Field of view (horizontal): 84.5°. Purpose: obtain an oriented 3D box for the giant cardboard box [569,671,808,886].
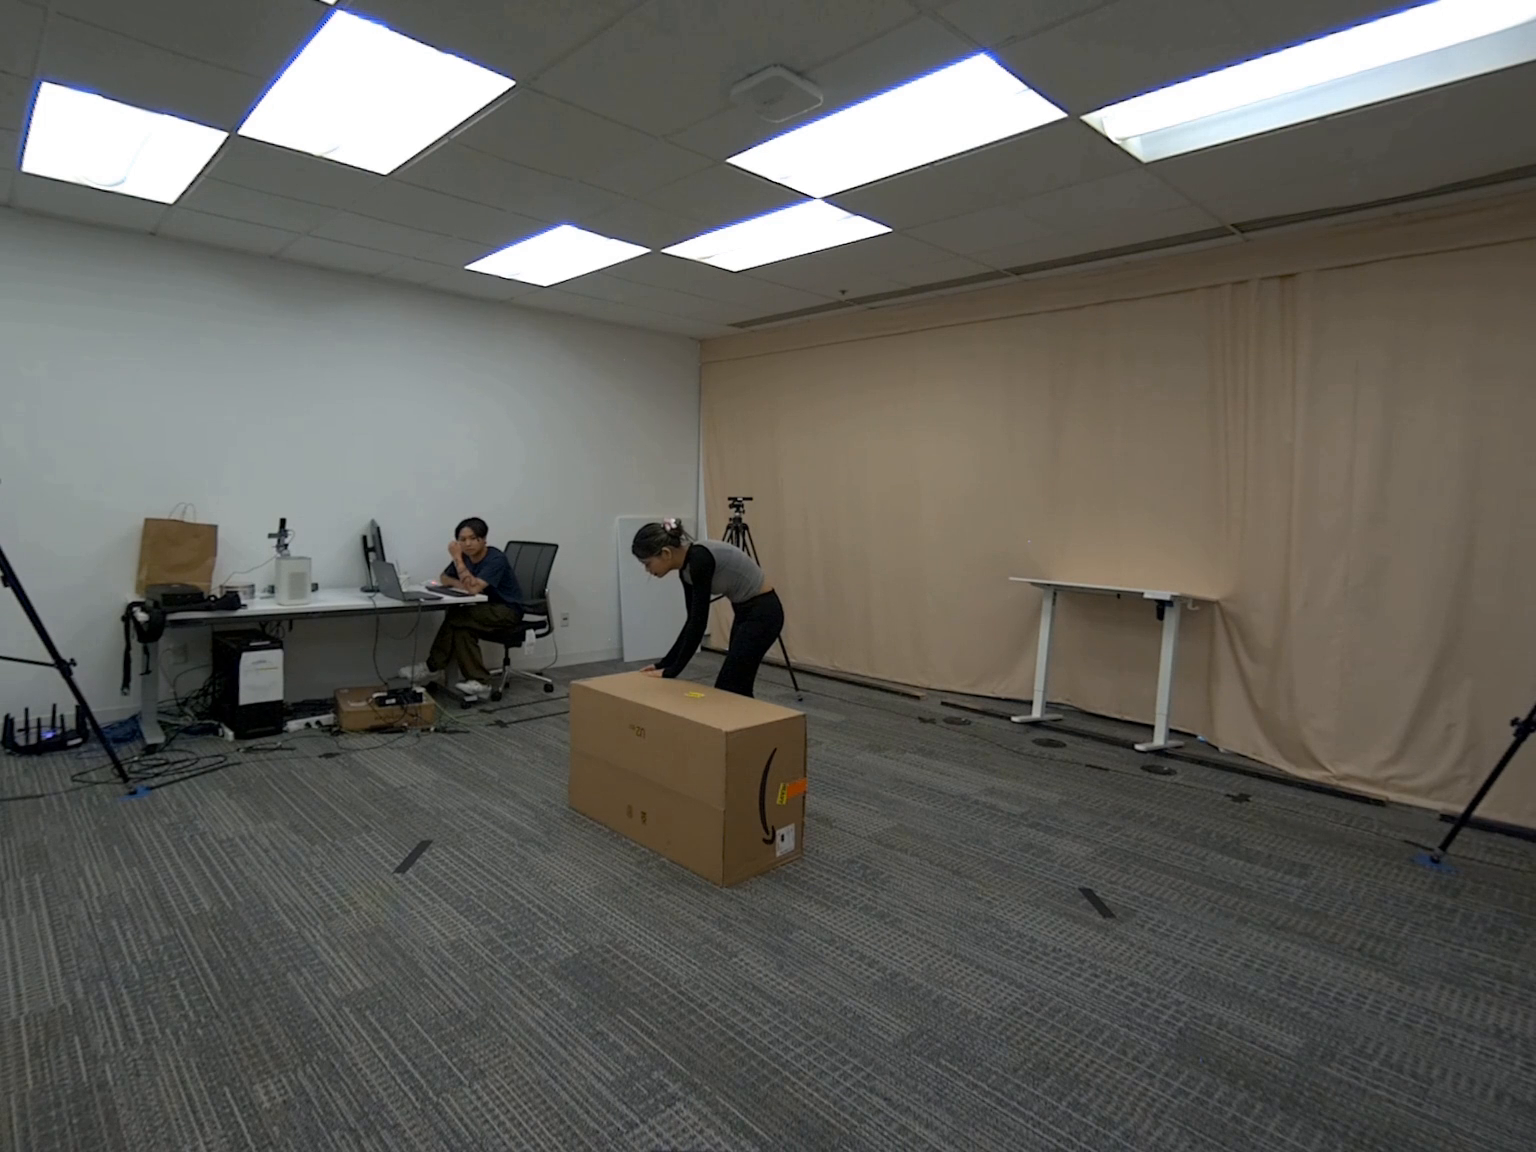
[{"bbox_3d":[-0.373,0.781,3.495,1.054,0.582,0.436,6,5,45],"label":"giant cardboard box"}]
